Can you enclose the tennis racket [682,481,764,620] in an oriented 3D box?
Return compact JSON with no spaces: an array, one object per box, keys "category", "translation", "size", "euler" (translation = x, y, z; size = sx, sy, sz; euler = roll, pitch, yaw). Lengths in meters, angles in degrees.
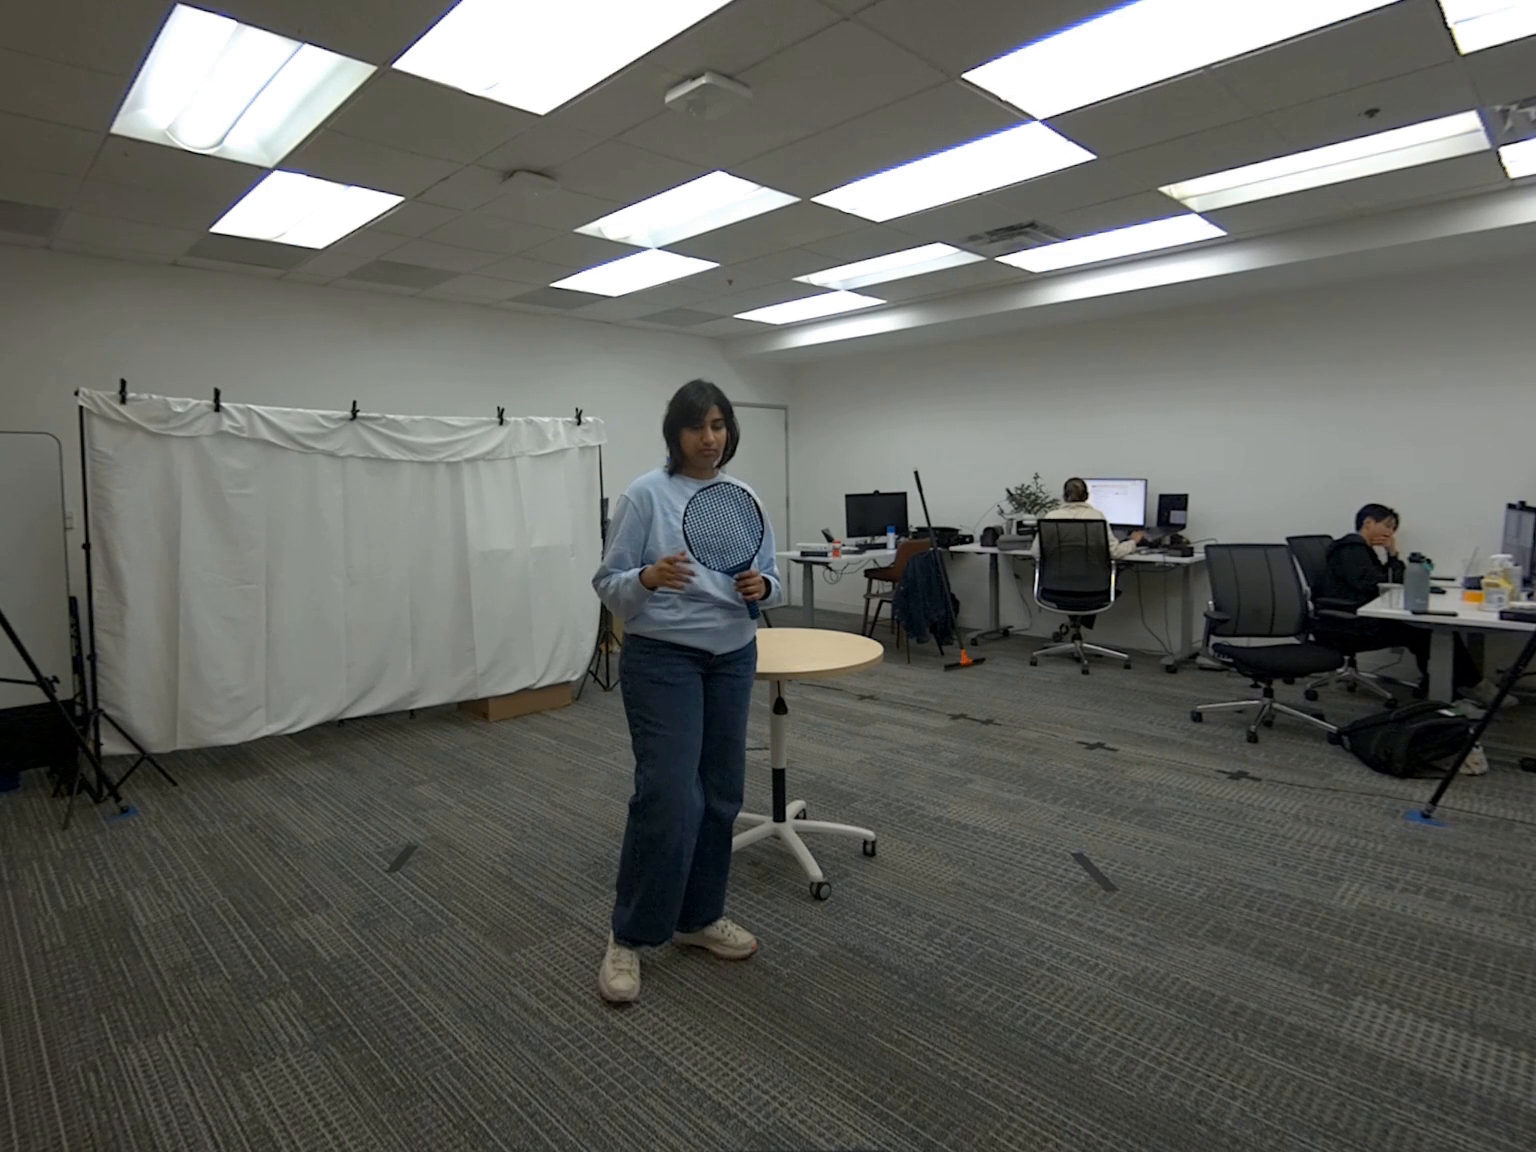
[{"category":"tennis racket","translation":[-0.110,-0.056,2.274],"size":[0.213,0.420,0.033],"euler":[-26,28,-5]}]
